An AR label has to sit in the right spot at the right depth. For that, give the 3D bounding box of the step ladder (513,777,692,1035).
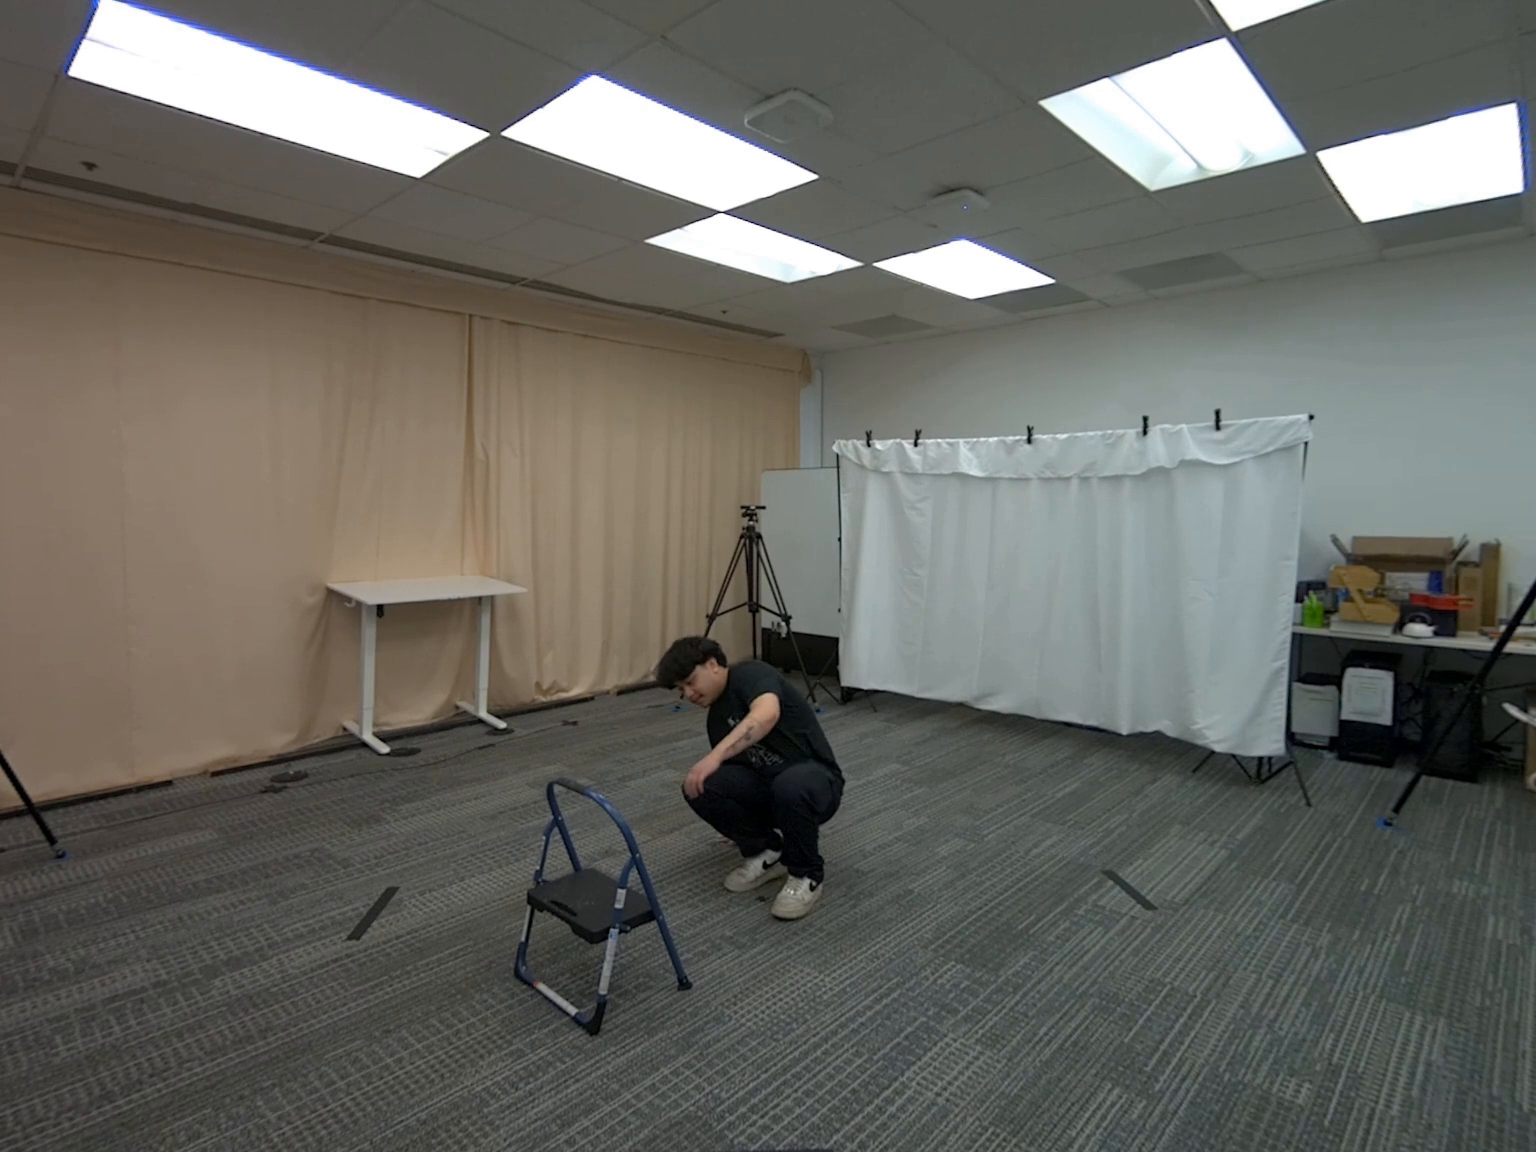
[{"bbox_3d":[-0.495,0.891,2.455,0.445,0.605,0.338,3,4,44],"label":"step ladder"}]
